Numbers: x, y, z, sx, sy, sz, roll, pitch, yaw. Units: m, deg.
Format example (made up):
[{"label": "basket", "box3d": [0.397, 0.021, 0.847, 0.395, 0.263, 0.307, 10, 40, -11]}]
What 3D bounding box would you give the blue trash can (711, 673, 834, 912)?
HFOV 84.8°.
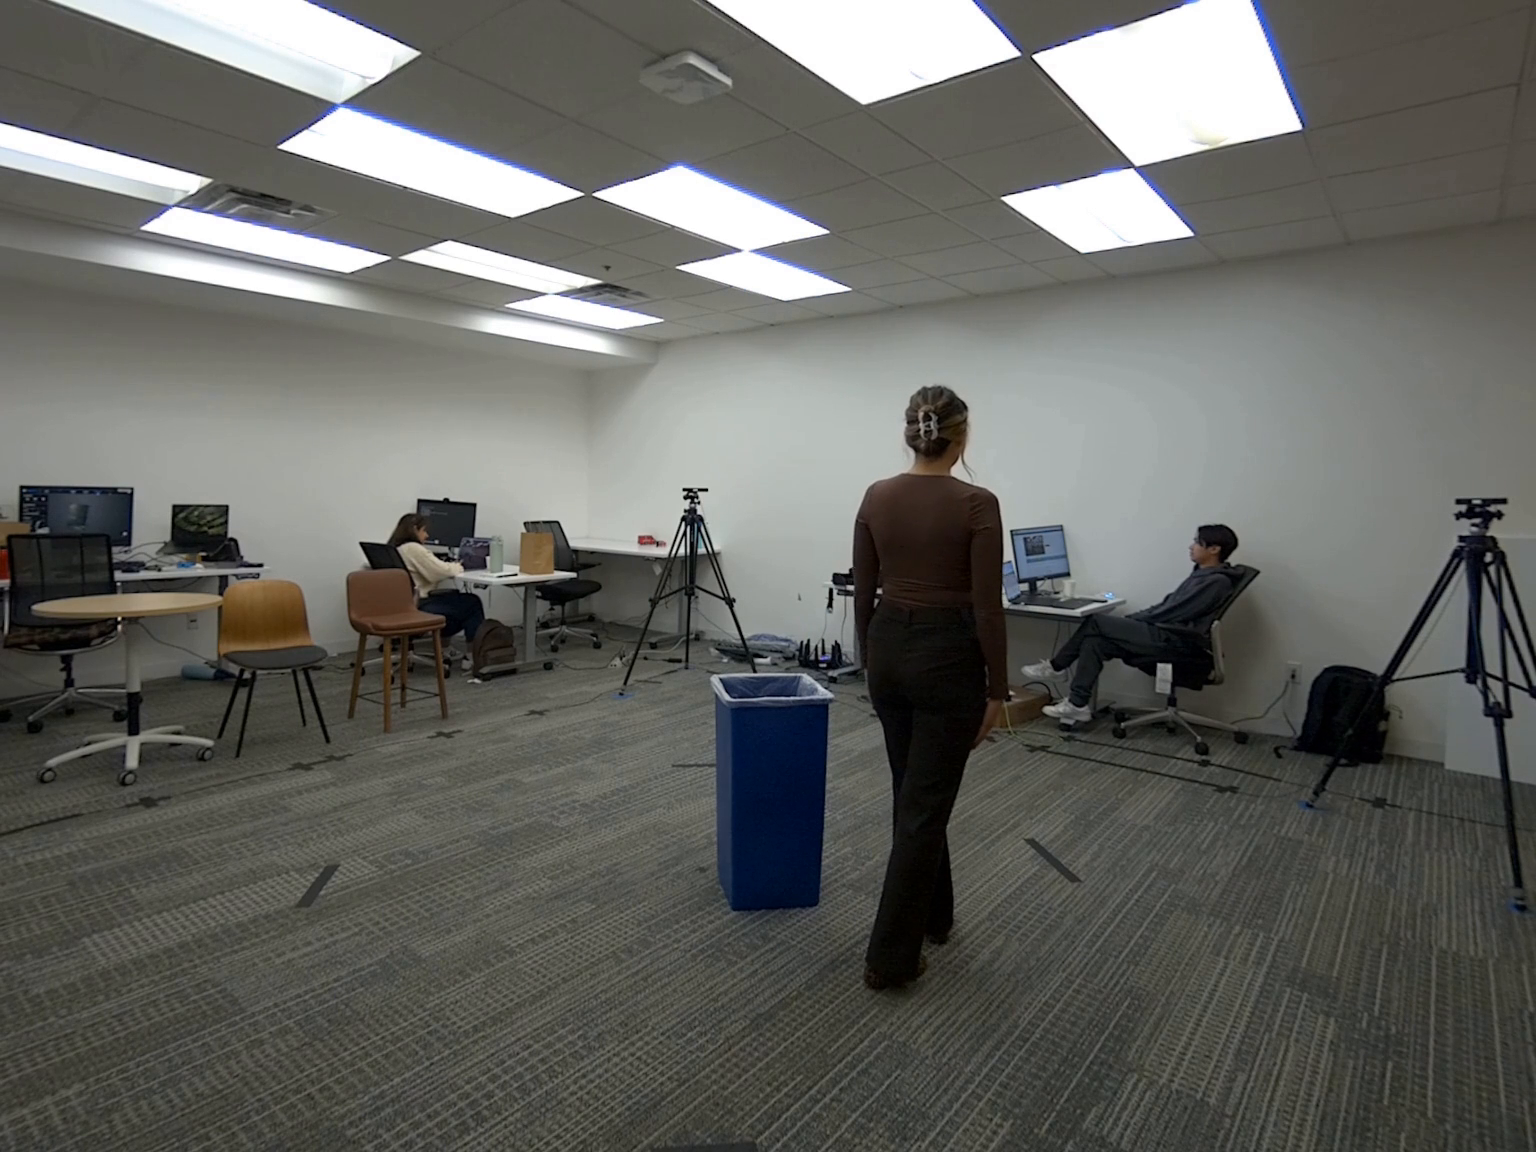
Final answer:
[{"label": "blue trash can", "box3d": [-0.012, 0.728, 2.957, 0.373, 0.711, 0.380, 1, 4, -12]}]
